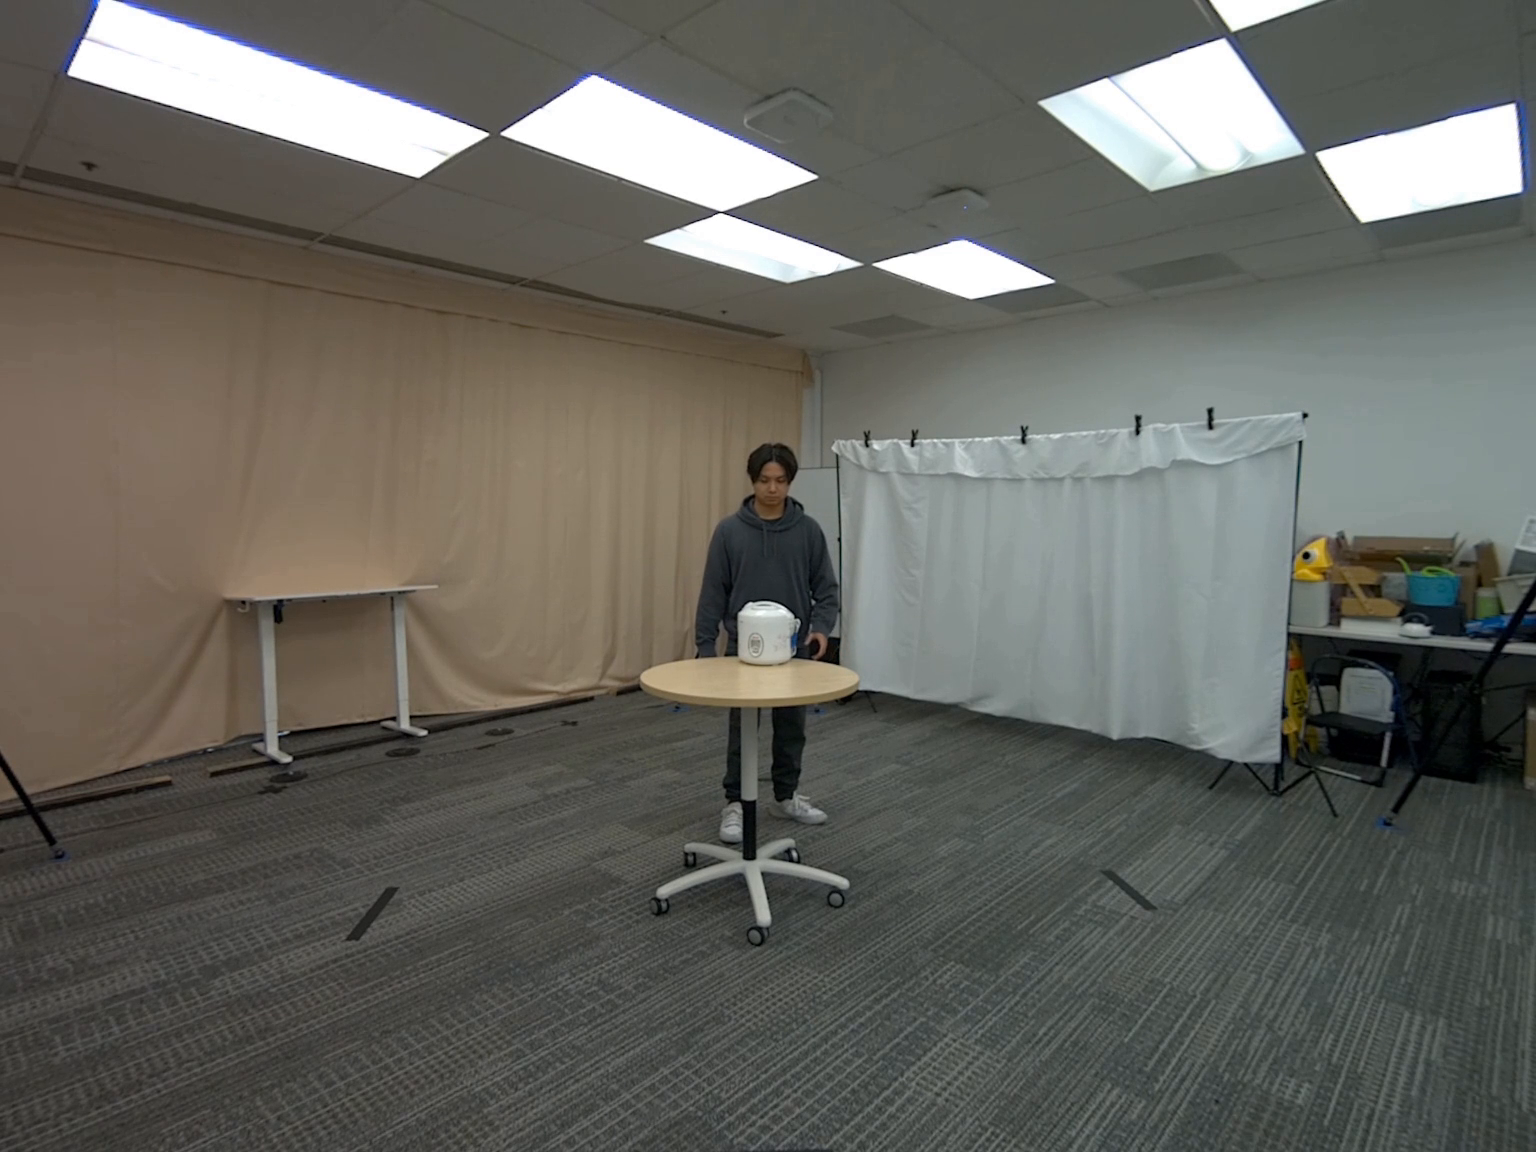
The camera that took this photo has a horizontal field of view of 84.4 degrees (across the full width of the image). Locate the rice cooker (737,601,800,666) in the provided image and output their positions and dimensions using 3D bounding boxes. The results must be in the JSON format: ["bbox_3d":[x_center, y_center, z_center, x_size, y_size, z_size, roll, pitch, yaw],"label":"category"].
[{"bbox_3d":[-0.010,0.212,3.223,0.225,0.232,0.213,1,2,21],"label":"rice cooker"}]
